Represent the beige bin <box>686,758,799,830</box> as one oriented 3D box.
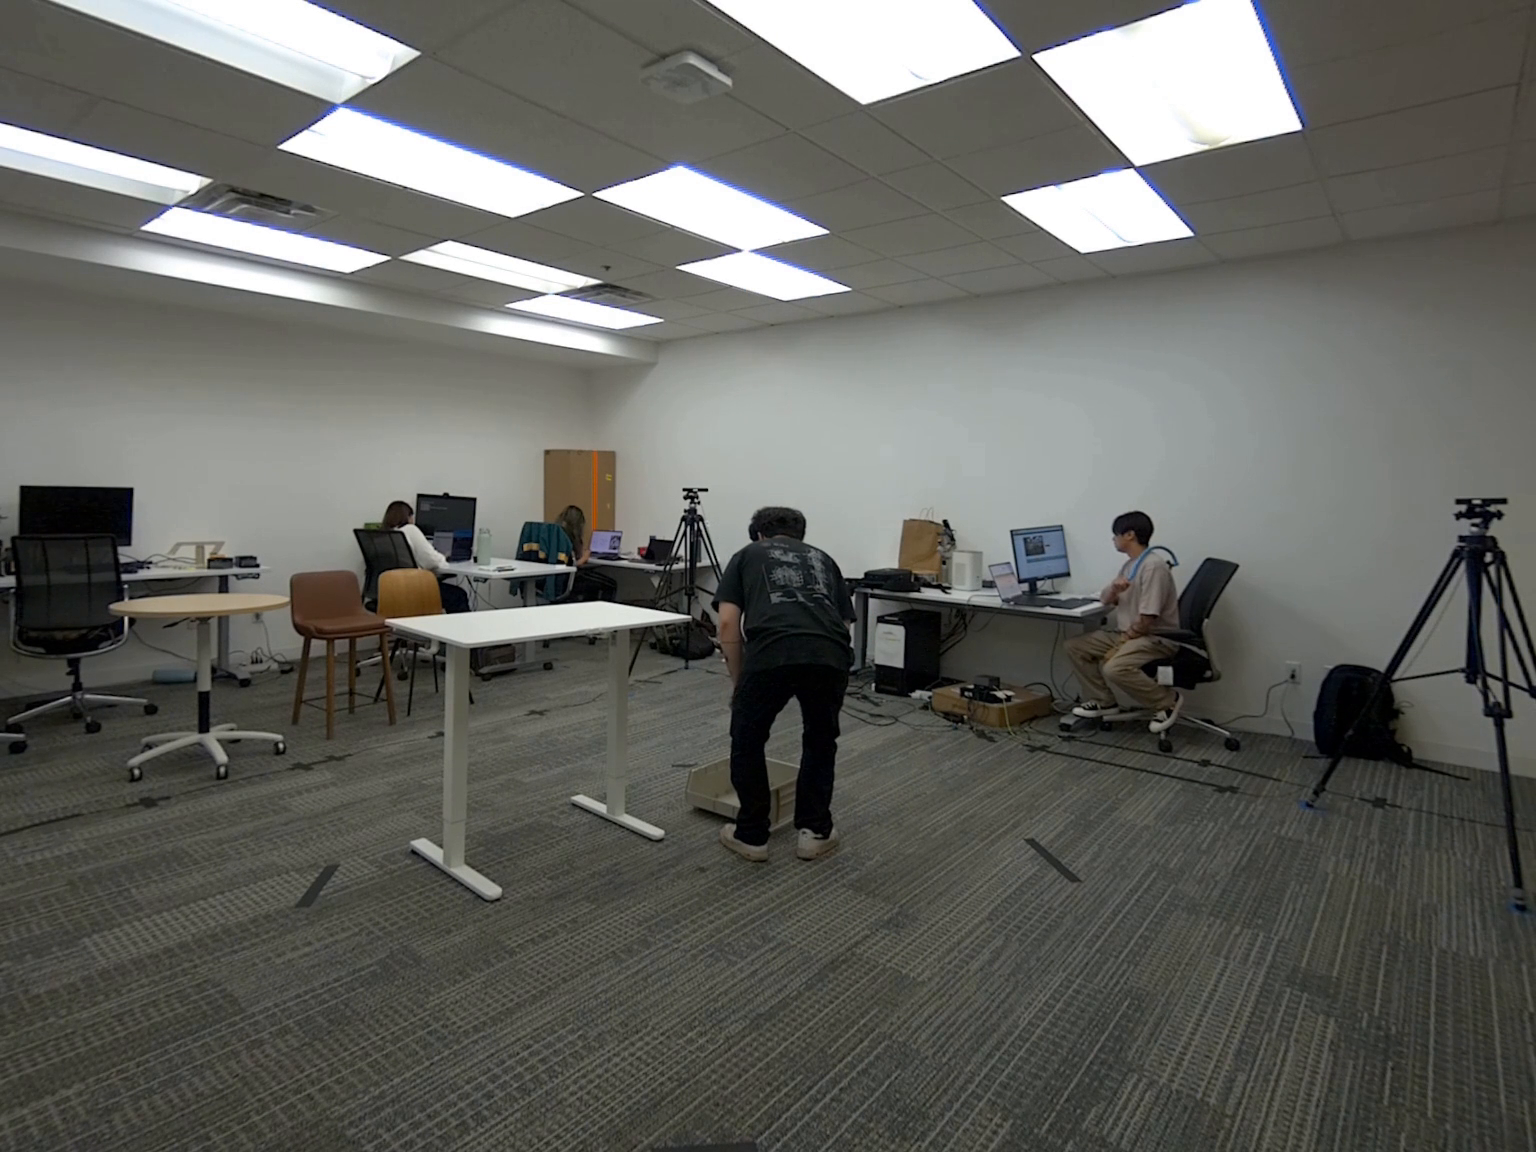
[{"bbox_3d":[-0.089,0.924,3.680,0.436,0.188,0.366,4,5,36],"label":"beige bin"}]
